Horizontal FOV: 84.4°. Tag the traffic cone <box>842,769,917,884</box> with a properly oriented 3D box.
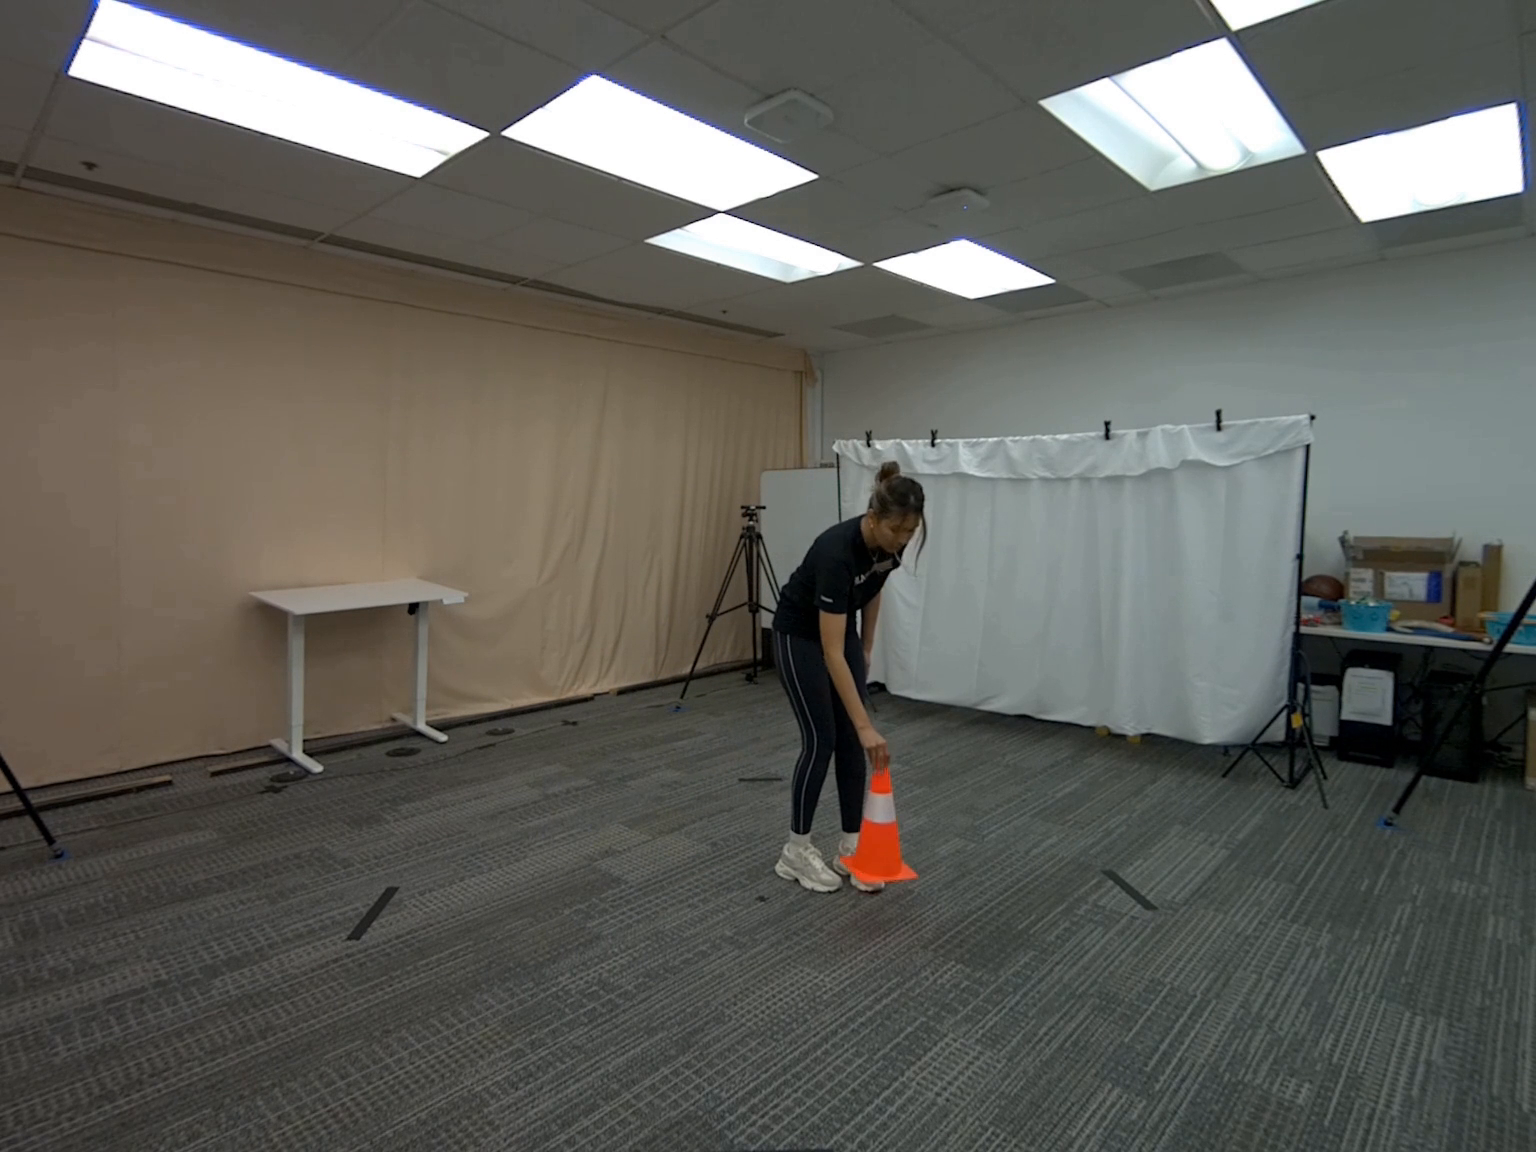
[{"bbox_3d":[0.362,0.757,2.749,0.201,0.382,0.208,-2,5,-19],"label":"traffic cone"}]
